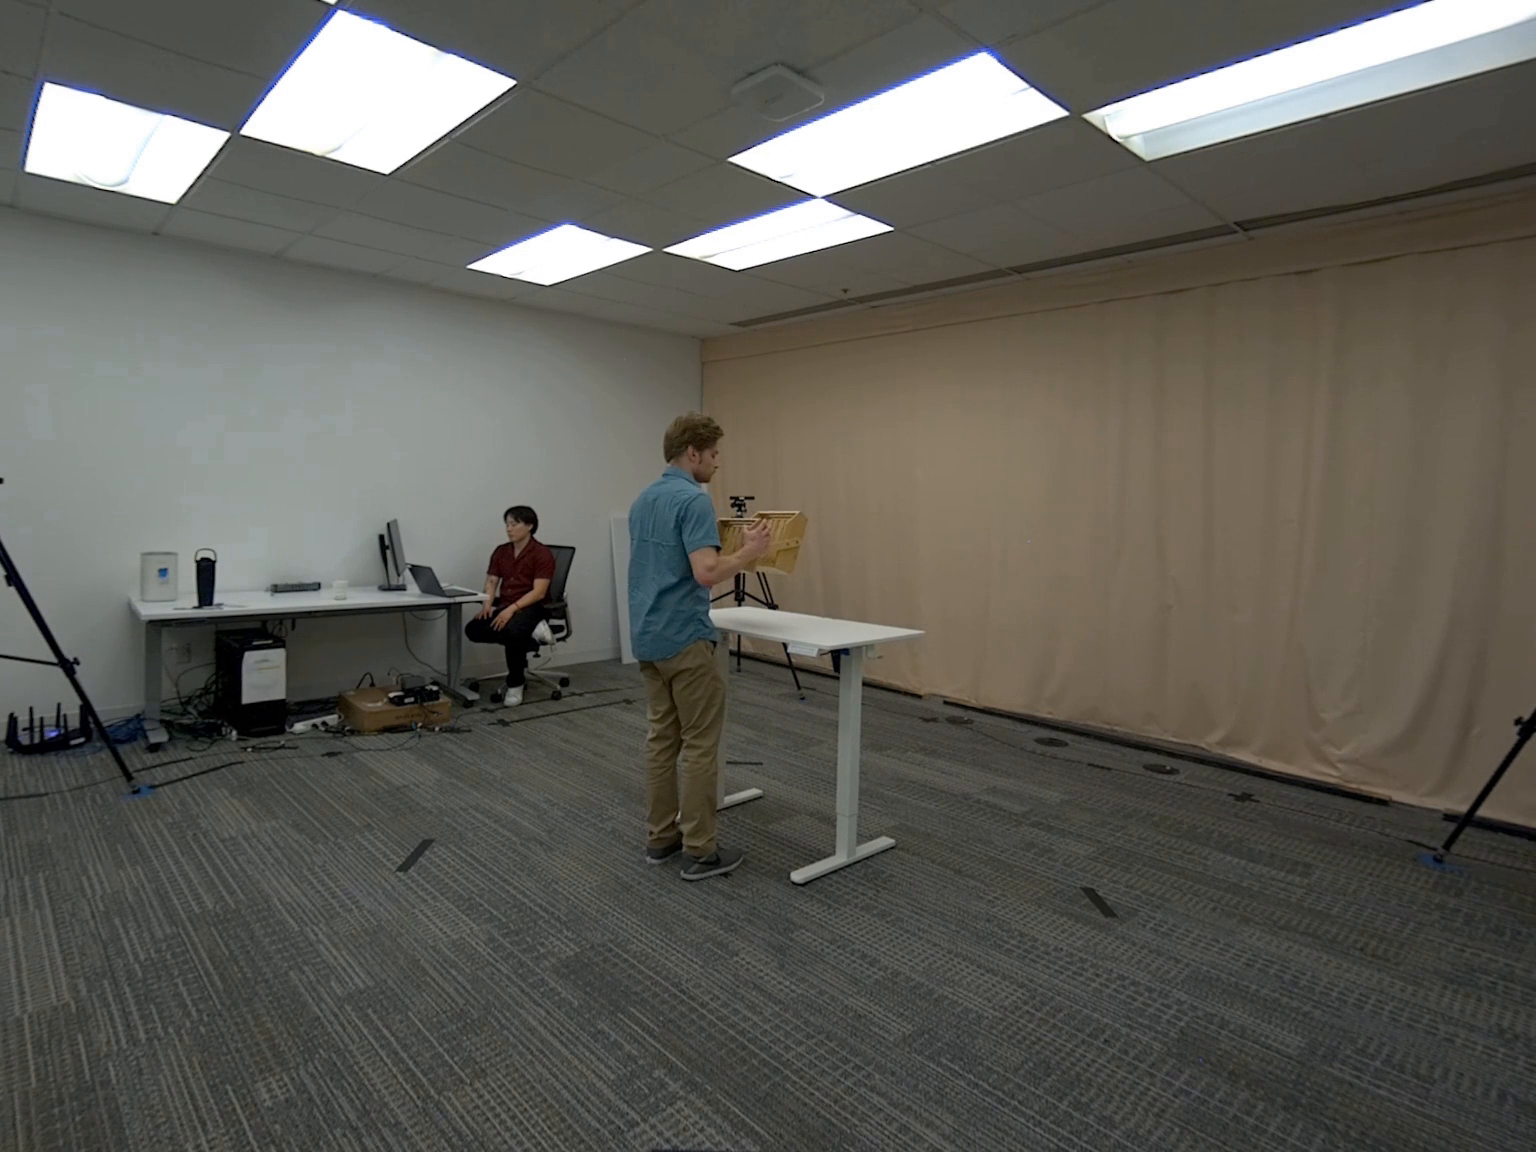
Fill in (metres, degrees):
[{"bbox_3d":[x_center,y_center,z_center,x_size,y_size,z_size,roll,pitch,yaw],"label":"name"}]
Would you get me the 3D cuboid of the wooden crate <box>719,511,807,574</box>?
[{"bbox_3d":[-0.071,-0.146,3.369,0.266,0.303,0.332,21,-9,-32],"label":"wooden crate"}]
